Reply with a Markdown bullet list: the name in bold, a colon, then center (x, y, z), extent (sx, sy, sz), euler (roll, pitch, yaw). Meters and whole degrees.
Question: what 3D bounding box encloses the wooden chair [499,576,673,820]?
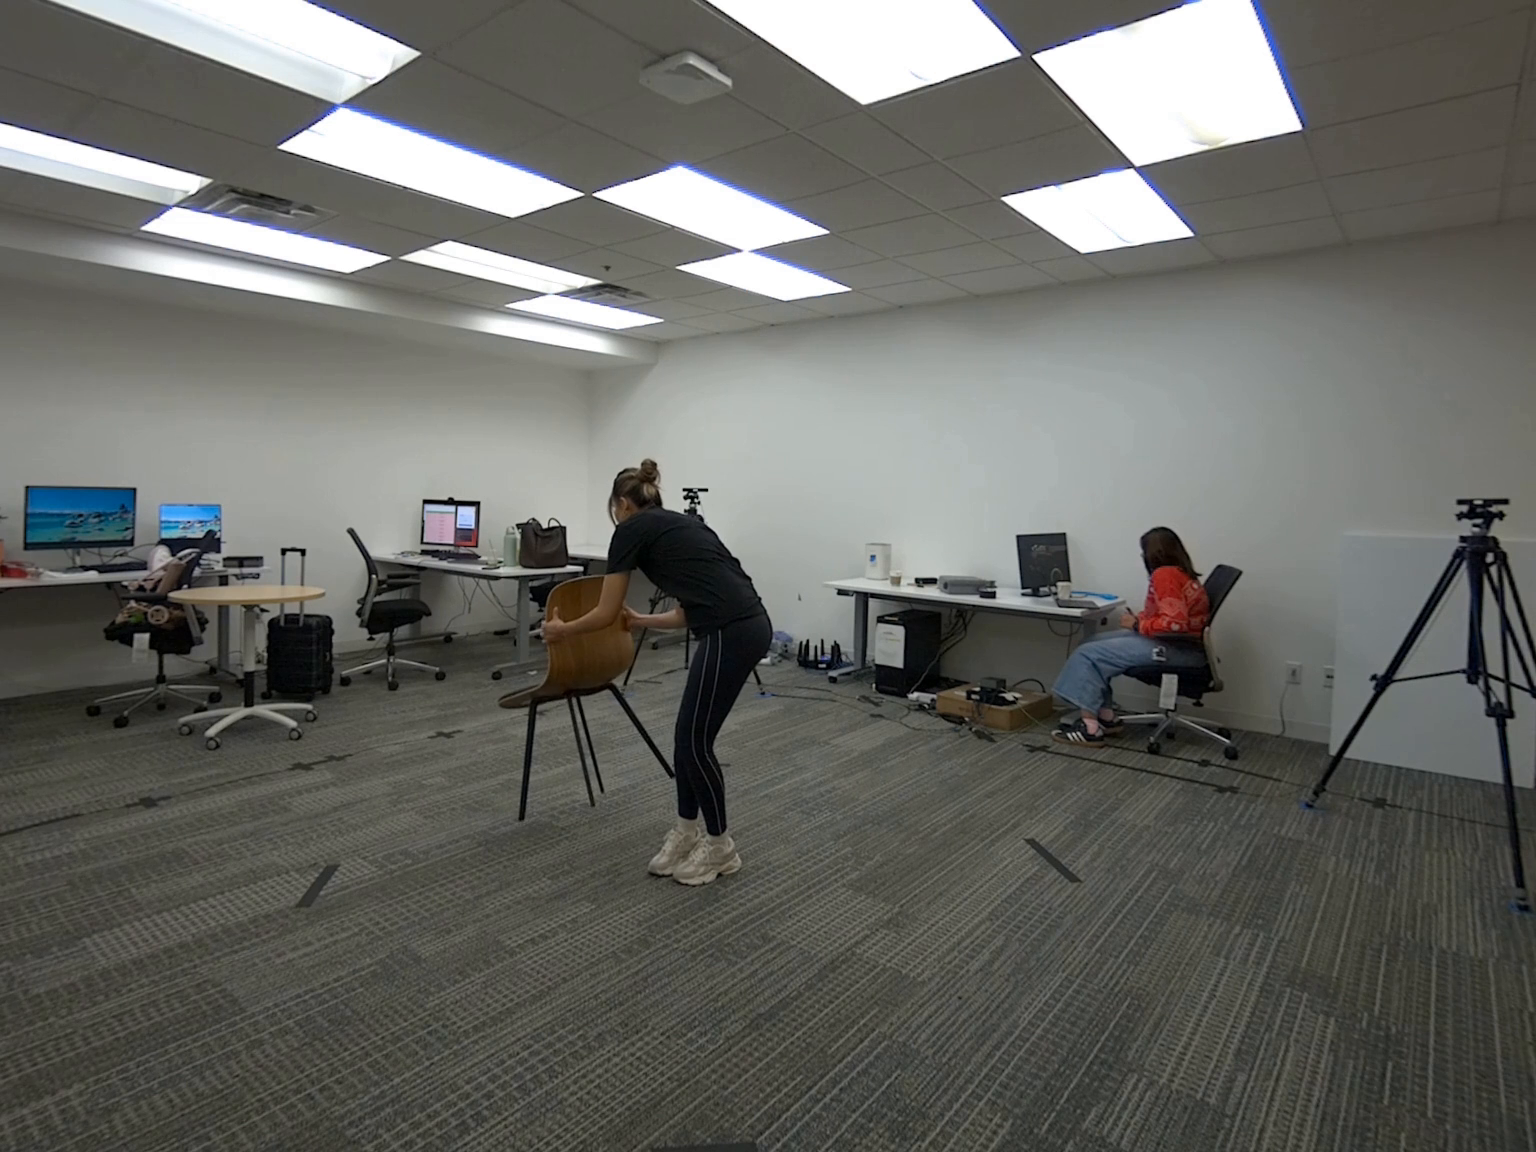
- **wooden chair**: center (-0.806, 0.483, 3.459), extent (0.534, 0.886, 0.464), euler (-18, -9, 36)
